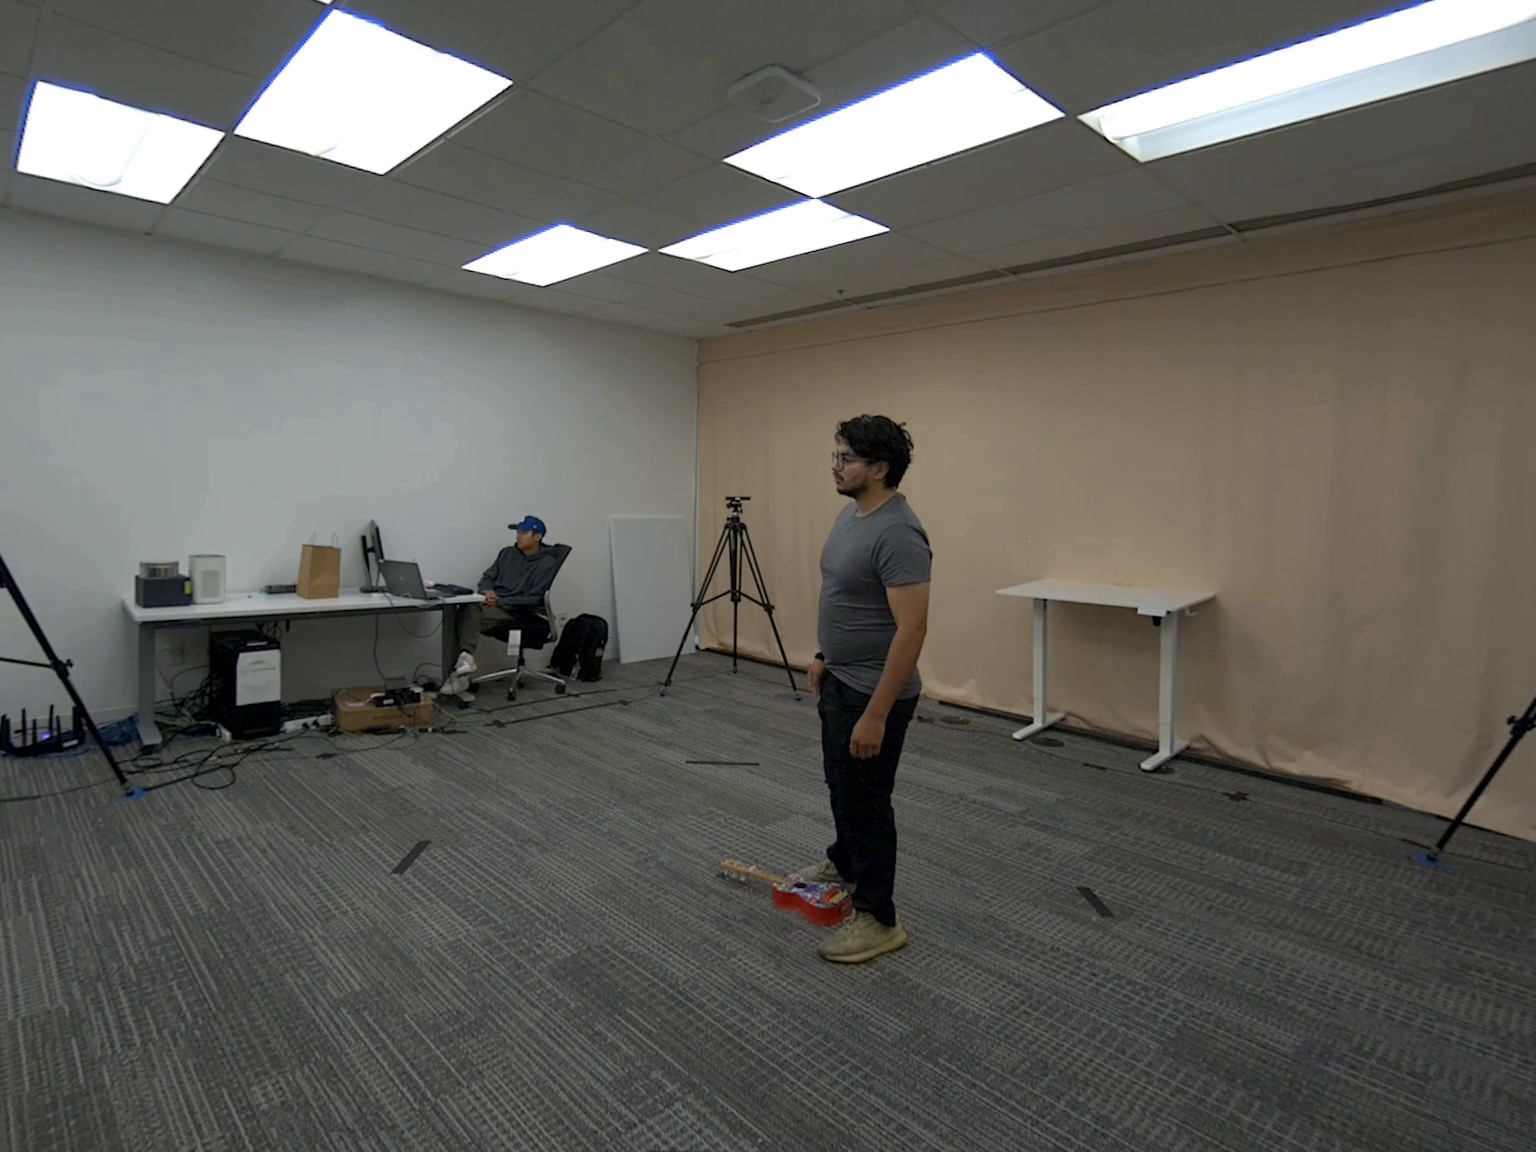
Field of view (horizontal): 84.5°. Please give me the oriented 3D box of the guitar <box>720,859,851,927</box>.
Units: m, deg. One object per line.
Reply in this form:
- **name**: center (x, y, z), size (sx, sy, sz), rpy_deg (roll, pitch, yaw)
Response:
- **guitar**: center (0.057, 1.090, 2.968), size (0.510, 0.070, 0.189), rpy_deg (6, 7, 41)
